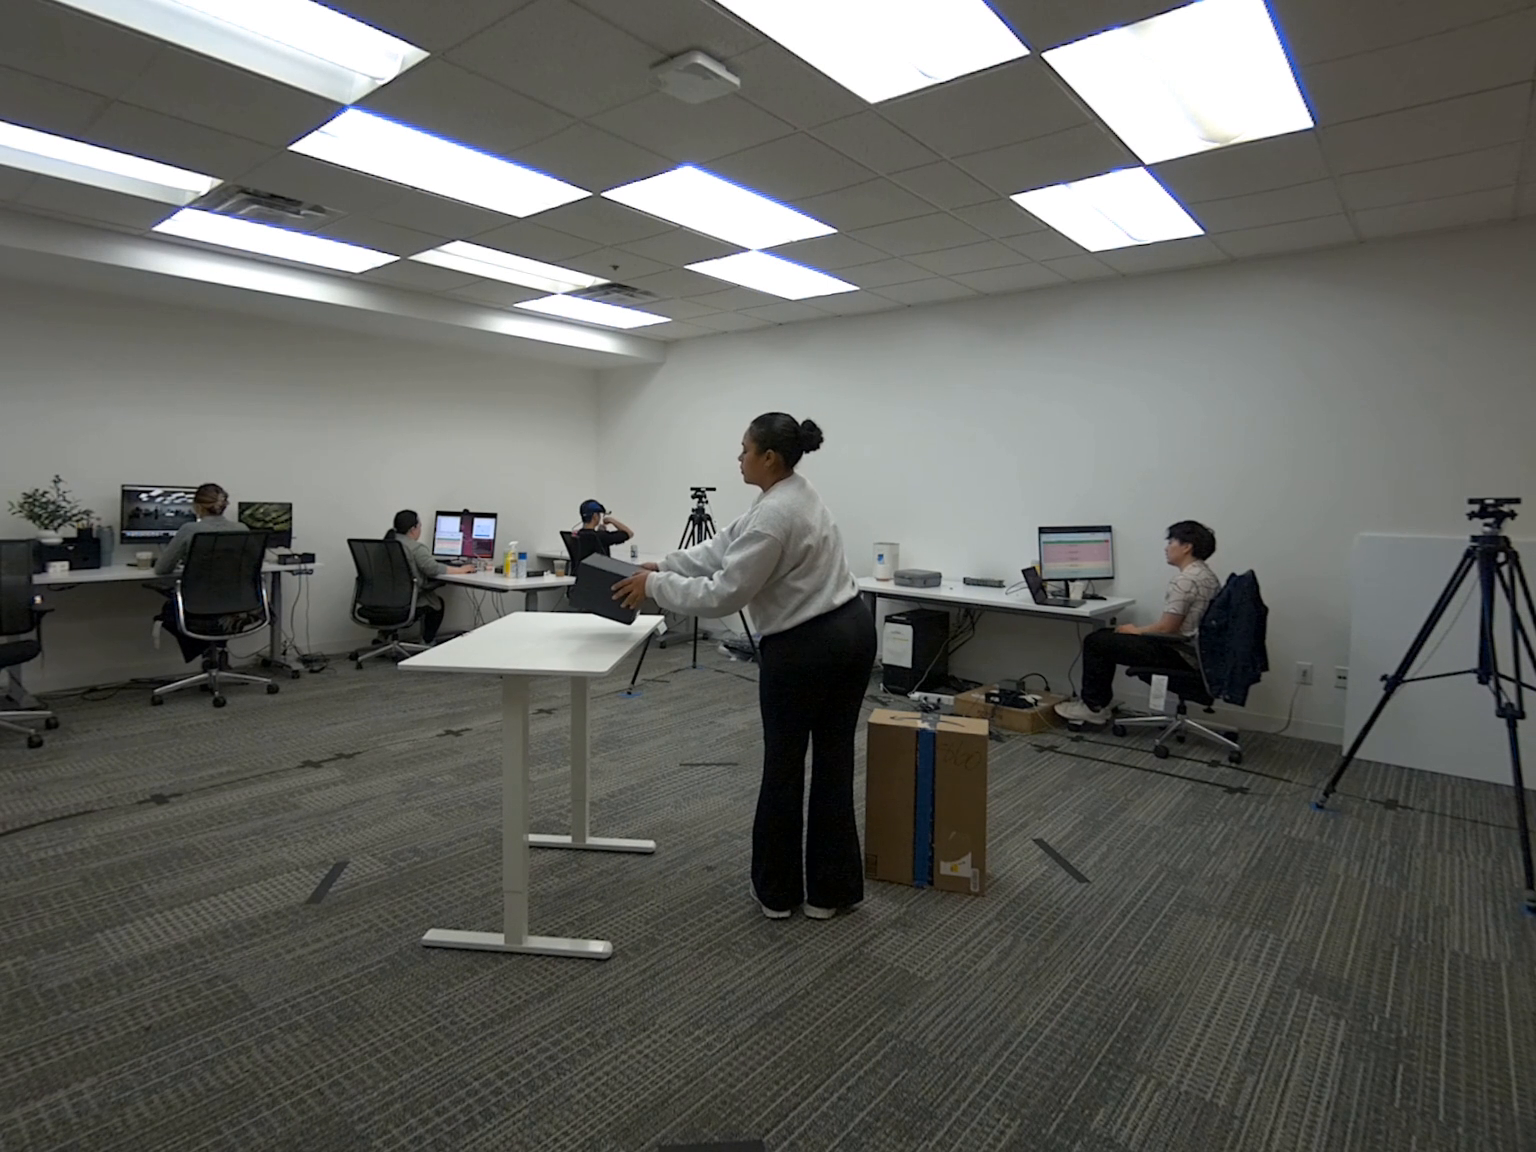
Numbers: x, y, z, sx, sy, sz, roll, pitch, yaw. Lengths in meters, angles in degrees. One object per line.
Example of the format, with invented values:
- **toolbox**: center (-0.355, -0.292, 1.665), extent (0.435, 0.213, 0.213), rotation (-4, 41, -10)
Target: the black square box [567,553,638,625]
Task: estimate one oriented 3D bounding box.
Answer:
- **black square box**: center (-0.540, 0.029, 2.873), extent (0.219, 0.155, 0.227), rotation (12, 10, 6)
